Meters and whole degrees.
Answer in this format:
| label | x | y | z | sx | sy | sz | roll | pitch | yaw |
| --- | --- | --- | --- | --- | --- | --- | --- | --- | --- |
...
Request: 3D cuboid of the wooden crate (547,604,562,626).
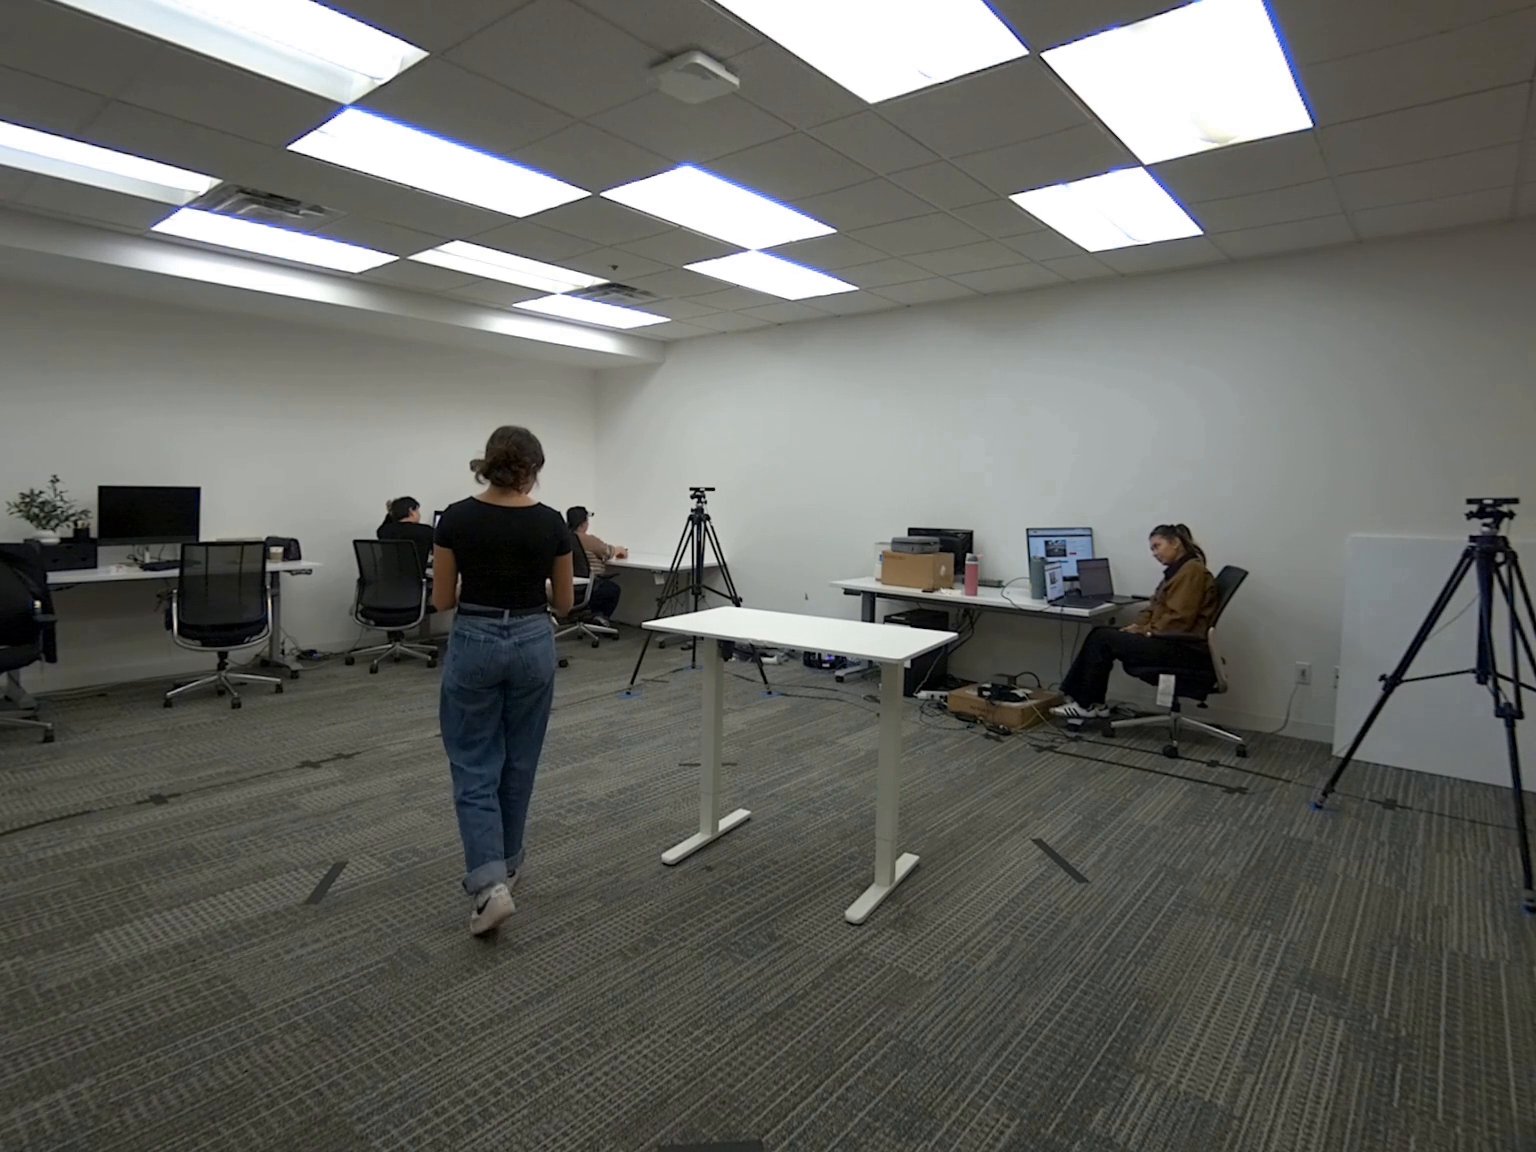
| label | x | y | z | sx | sy | sz | roll | pitch | yaw |
| --- | --- | --- | --- | --- | --- | --- | --- | --- | --- |
| wooden crate | -0.922 | 0.056 | 3.101 | 0.295 | 0.270 | 0.335 | -2 | 14 | -23 |
